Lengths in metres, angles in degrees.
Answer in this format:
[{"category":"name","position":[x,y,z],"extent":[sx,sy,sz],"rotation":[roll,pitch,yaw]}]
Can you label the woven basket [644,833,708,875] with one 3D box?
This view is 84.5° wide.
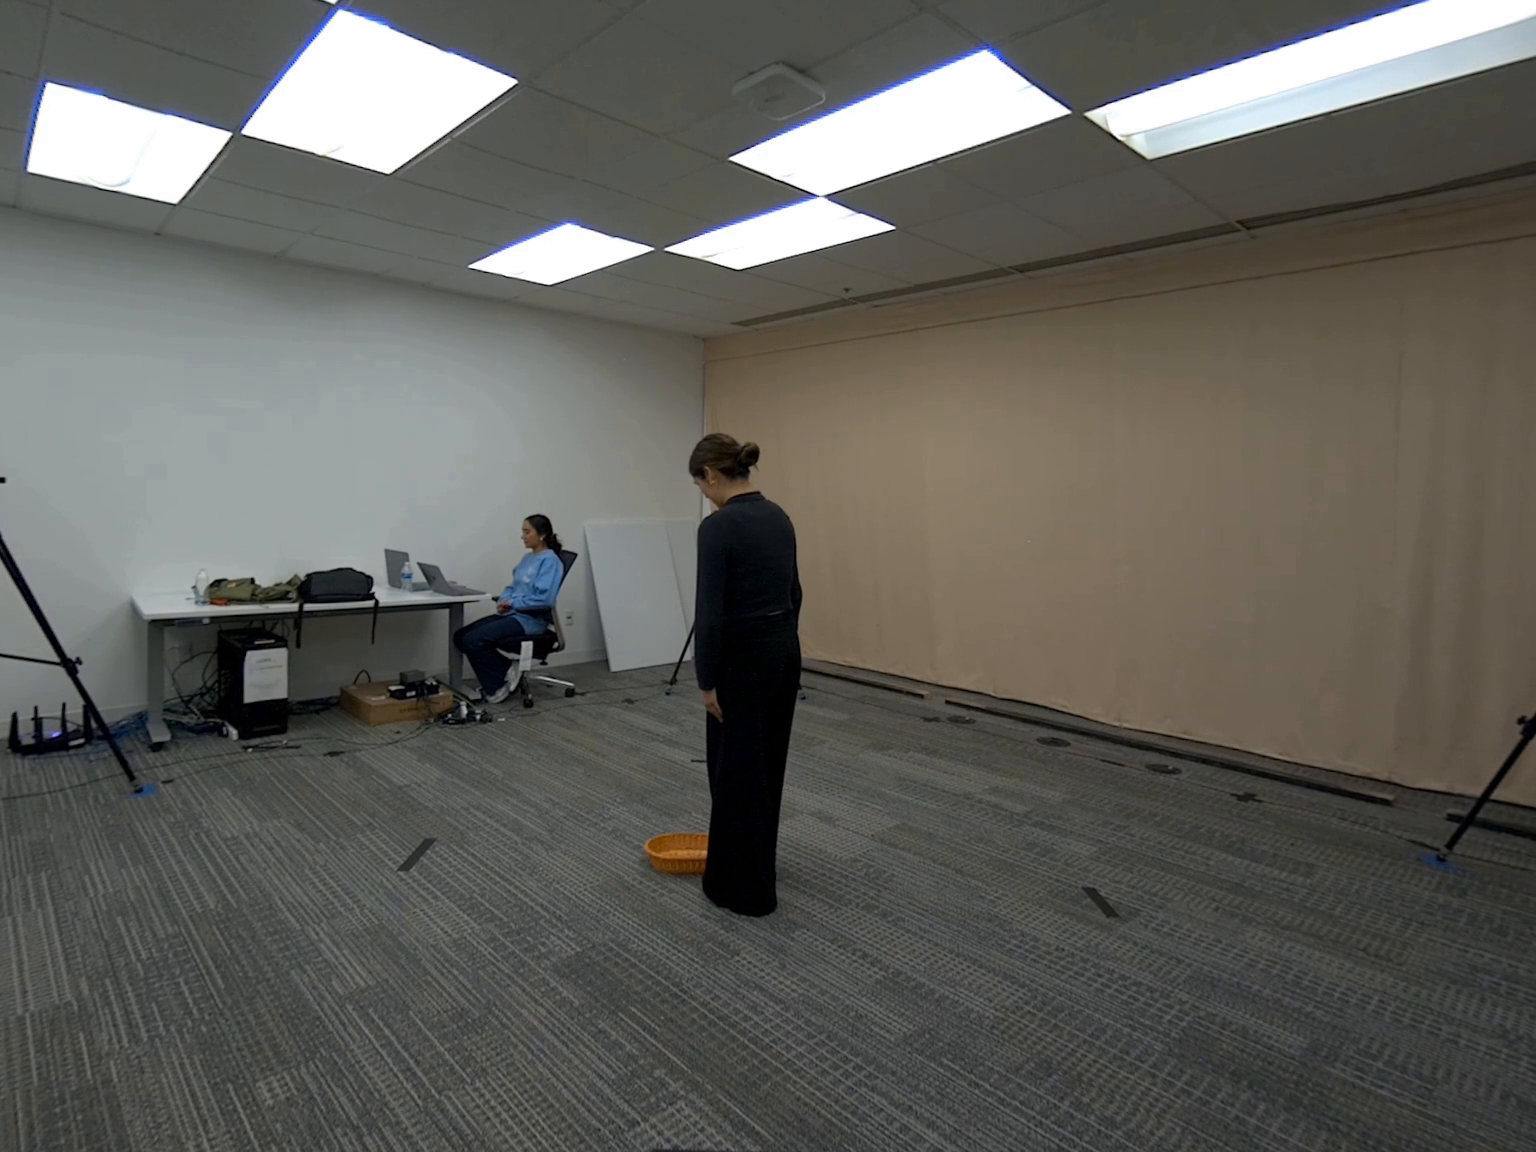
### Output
[{"category":"woven basket","position":[-0.306,1.047,3.199],"extent":[0.349,0.073,0.253],"rotation":[0,3,-4]}]
